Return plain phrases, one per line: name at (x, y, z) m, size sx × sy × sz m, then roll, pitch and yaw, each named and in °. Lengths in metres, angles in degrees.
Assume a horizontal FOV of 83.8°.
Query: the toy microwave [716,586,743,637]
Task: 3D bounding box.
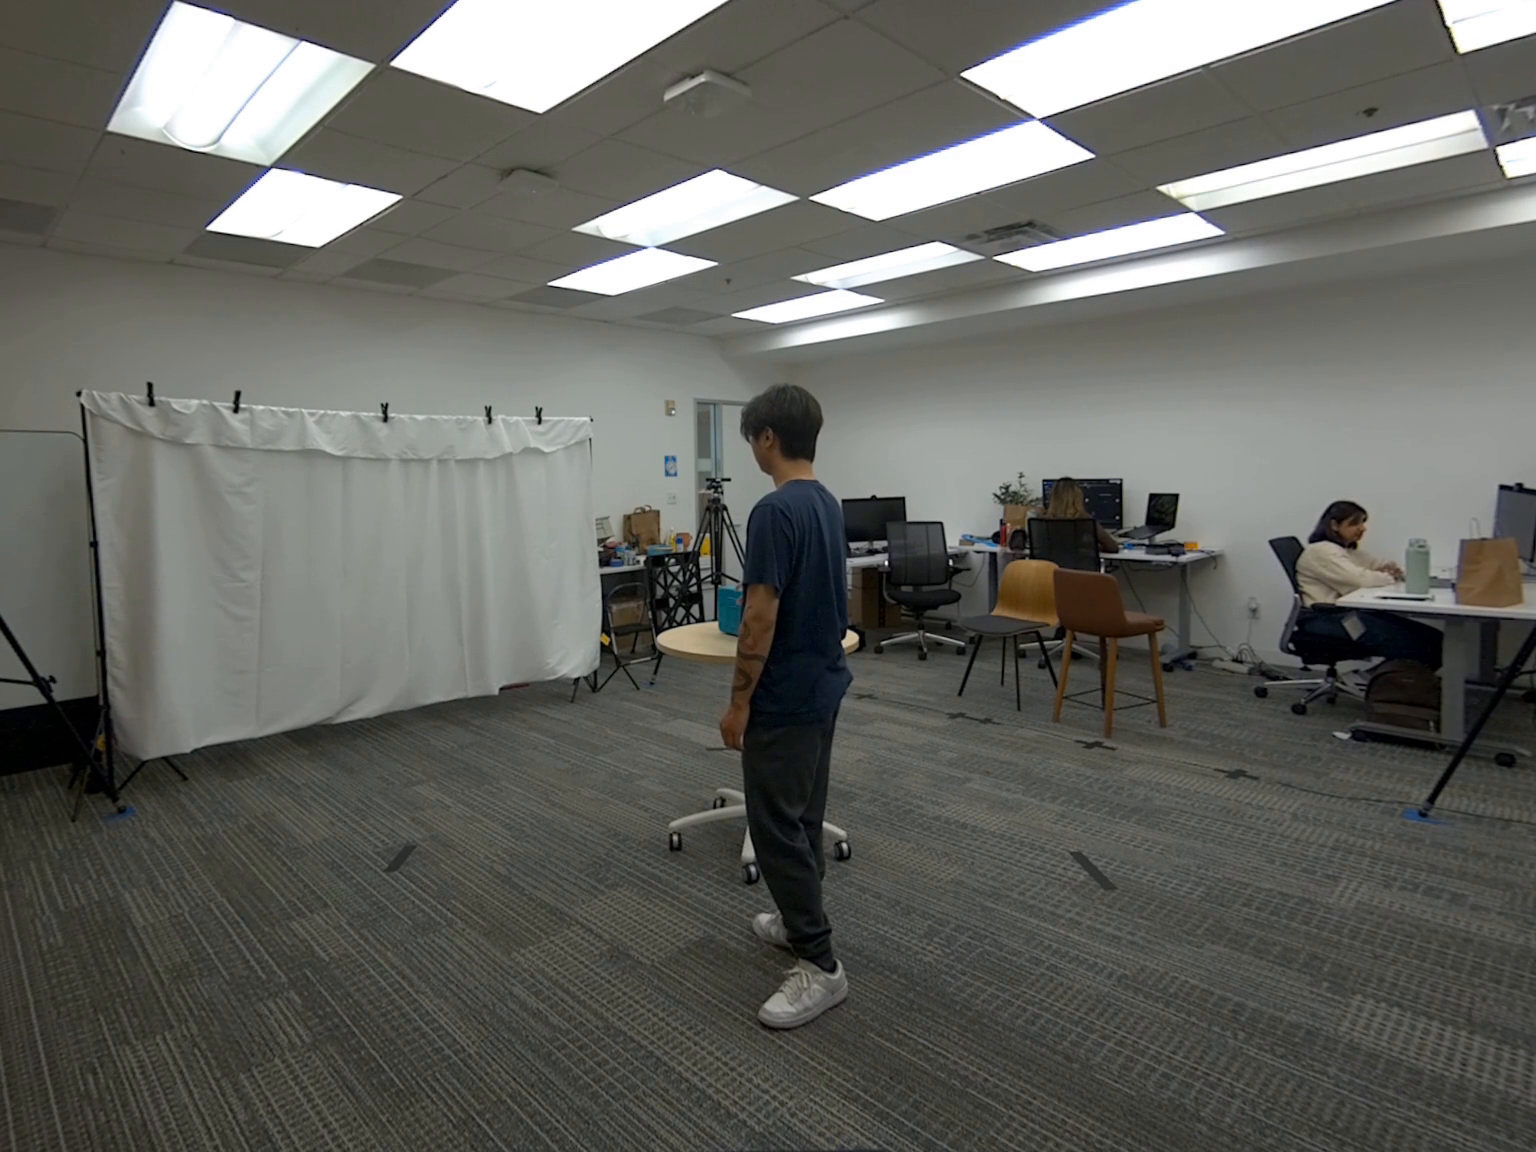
toy microwave at (-0.051, 0.137, 3.268) m, size 0.148 × 0.183 × 0.295 m, roll -4°, pitch 7°, yaw -38°
